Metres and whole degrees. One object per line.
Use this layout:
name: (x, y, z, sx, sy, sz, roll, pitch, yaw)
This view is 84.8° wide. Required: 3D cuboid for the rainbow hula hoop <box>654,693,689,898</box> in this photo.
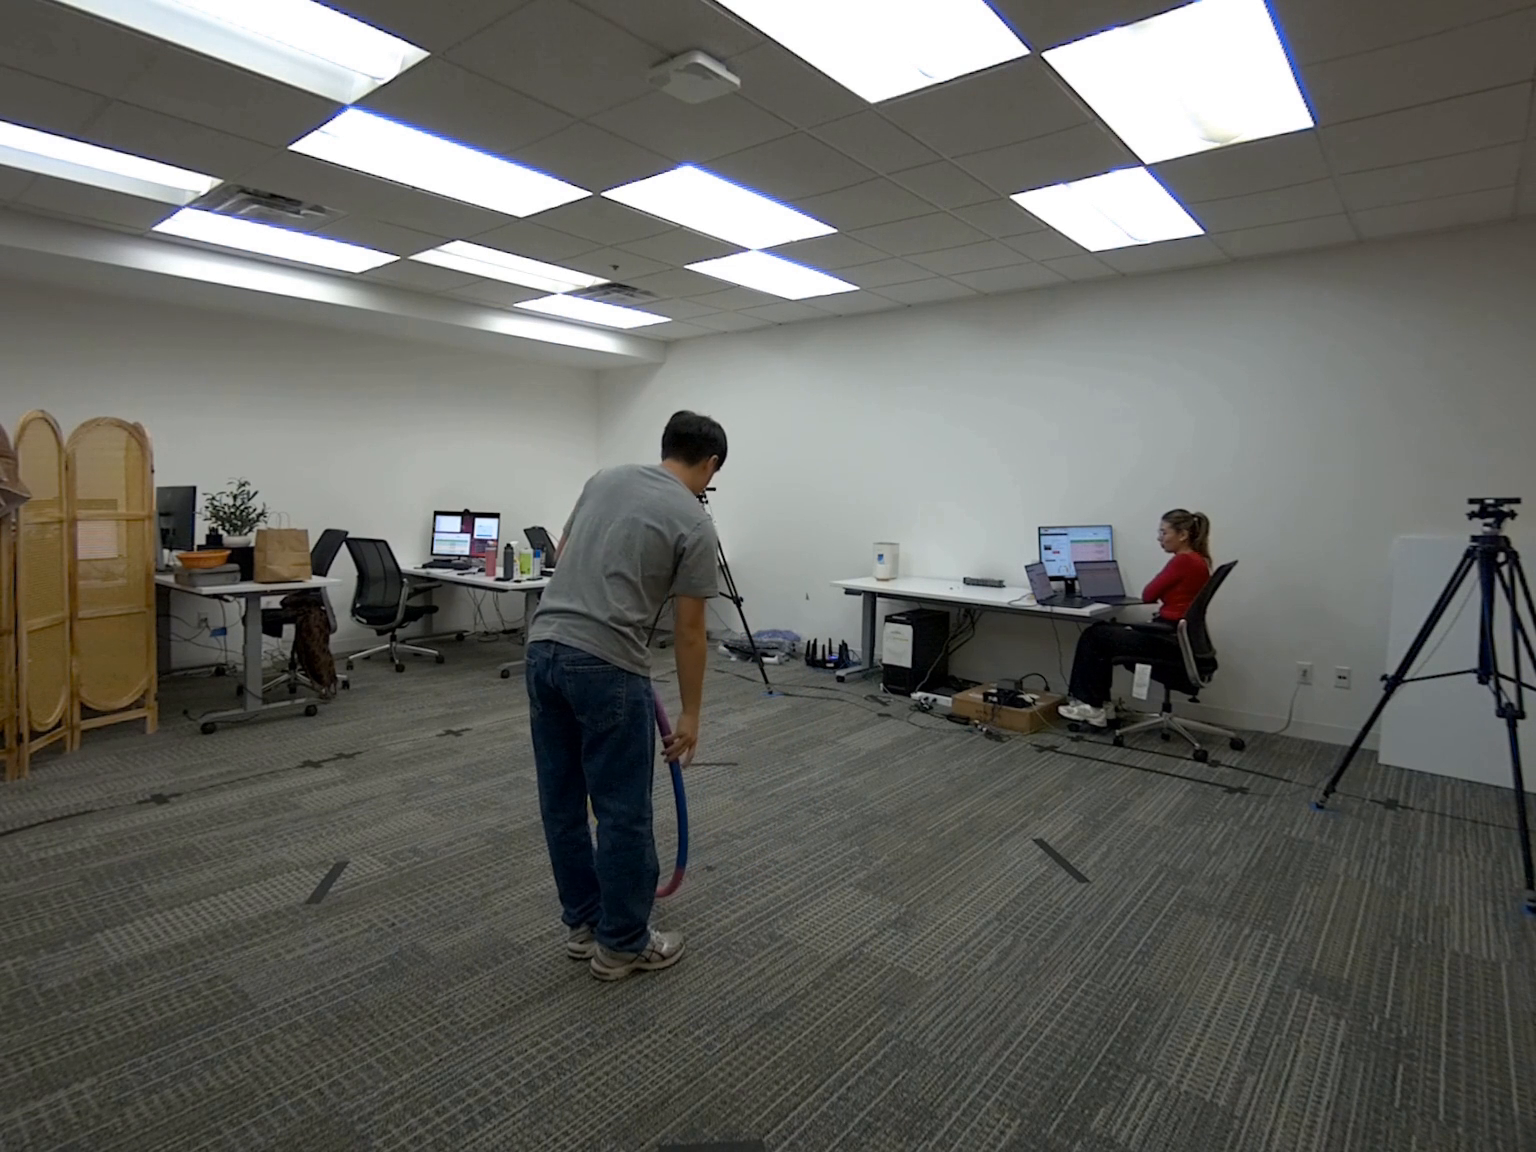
rainbow hula hoop: (-0.534, 0.599, 2.914, 0.035, 0.970, 1.008, -12, 10, -29)
